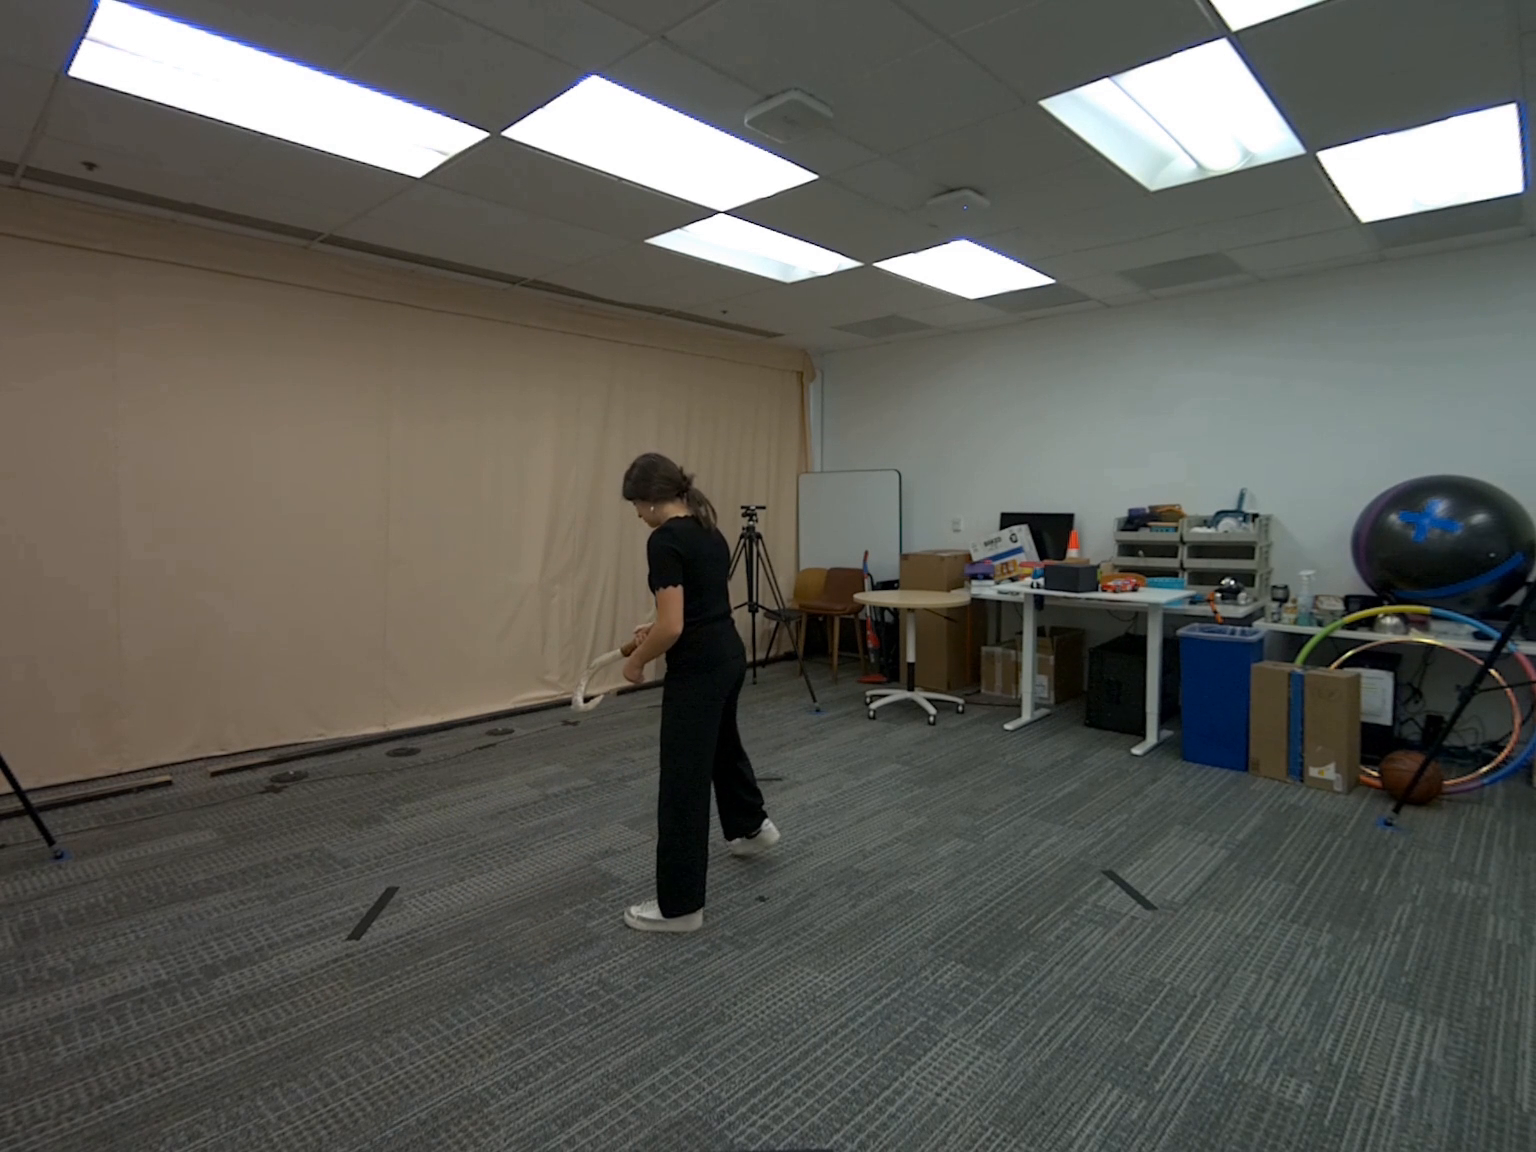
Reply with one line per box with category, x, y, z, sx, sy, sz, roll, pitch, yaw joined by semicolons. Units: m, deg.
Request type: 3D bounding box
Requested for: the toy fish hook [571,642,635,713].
toy fish hook;-0.545;0.338;3.026;0.047;0.229;0.513;29;-51;-34
